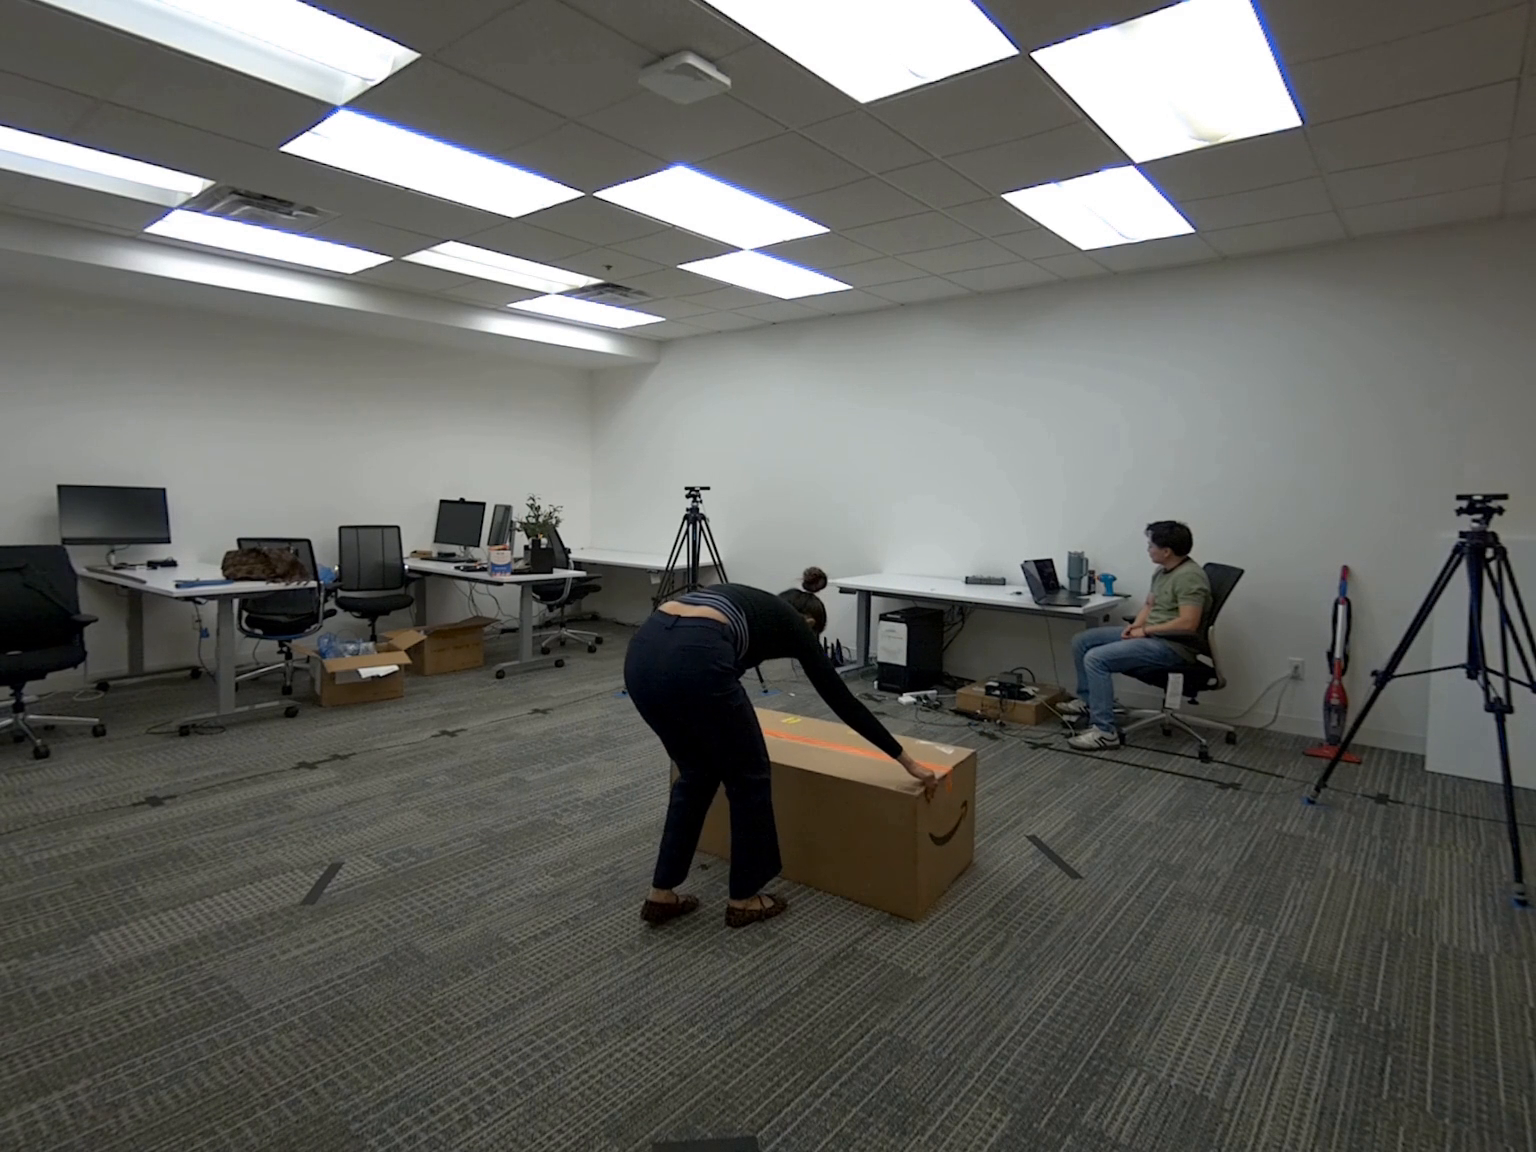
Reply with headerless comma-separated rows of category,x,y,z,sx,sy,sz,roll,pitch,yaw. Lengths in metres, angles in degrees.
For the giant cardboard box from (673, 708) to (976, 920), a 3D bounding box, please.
giant cardboard box,0.192,0.842,3.253,1.058,0.425,0.562,4,6,34
